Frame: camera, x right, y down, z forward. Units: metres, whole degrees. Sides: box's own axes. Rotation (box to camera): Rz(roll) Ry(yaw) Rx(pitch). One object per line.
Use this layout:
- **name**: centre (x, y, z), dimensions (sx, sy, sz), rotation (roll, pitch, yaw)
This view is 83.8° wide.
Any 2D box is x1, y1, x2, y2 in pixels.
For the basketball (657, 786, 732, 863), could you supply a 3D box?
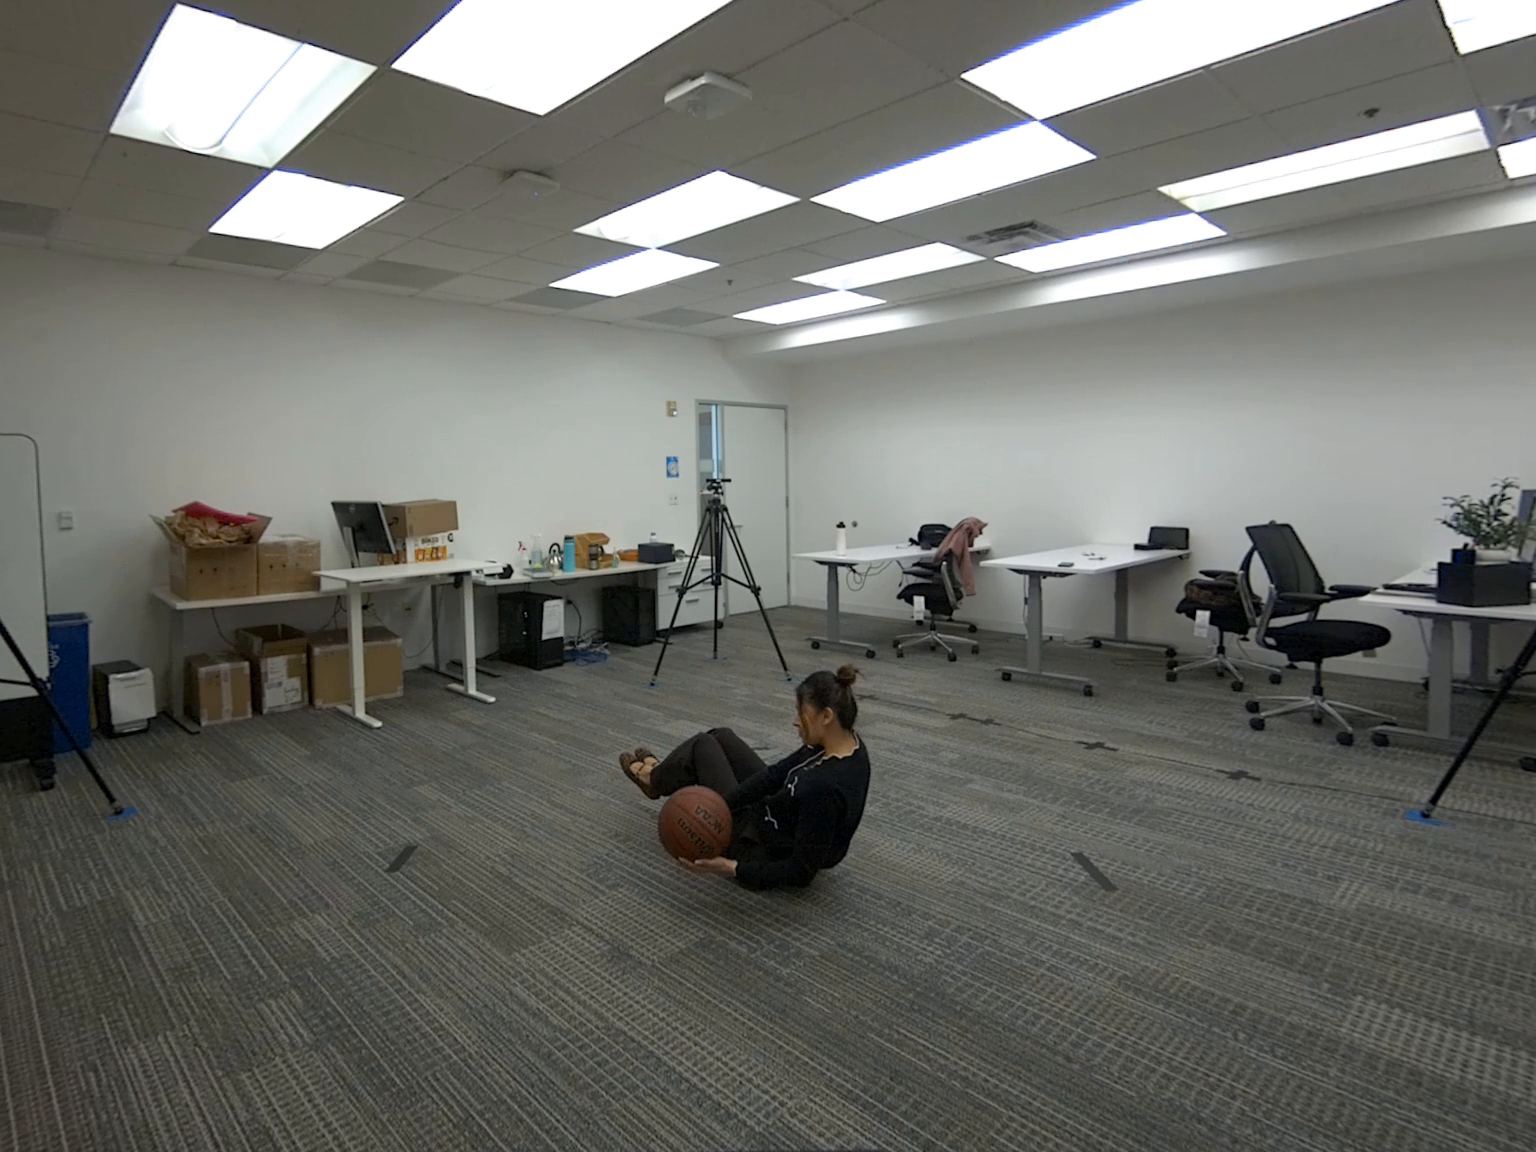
- **basketball**: centre (-0.226, 0.778, 2.713), dimensions (0.236, 0.235, 0.237), rotation (-1, 5, -2)
